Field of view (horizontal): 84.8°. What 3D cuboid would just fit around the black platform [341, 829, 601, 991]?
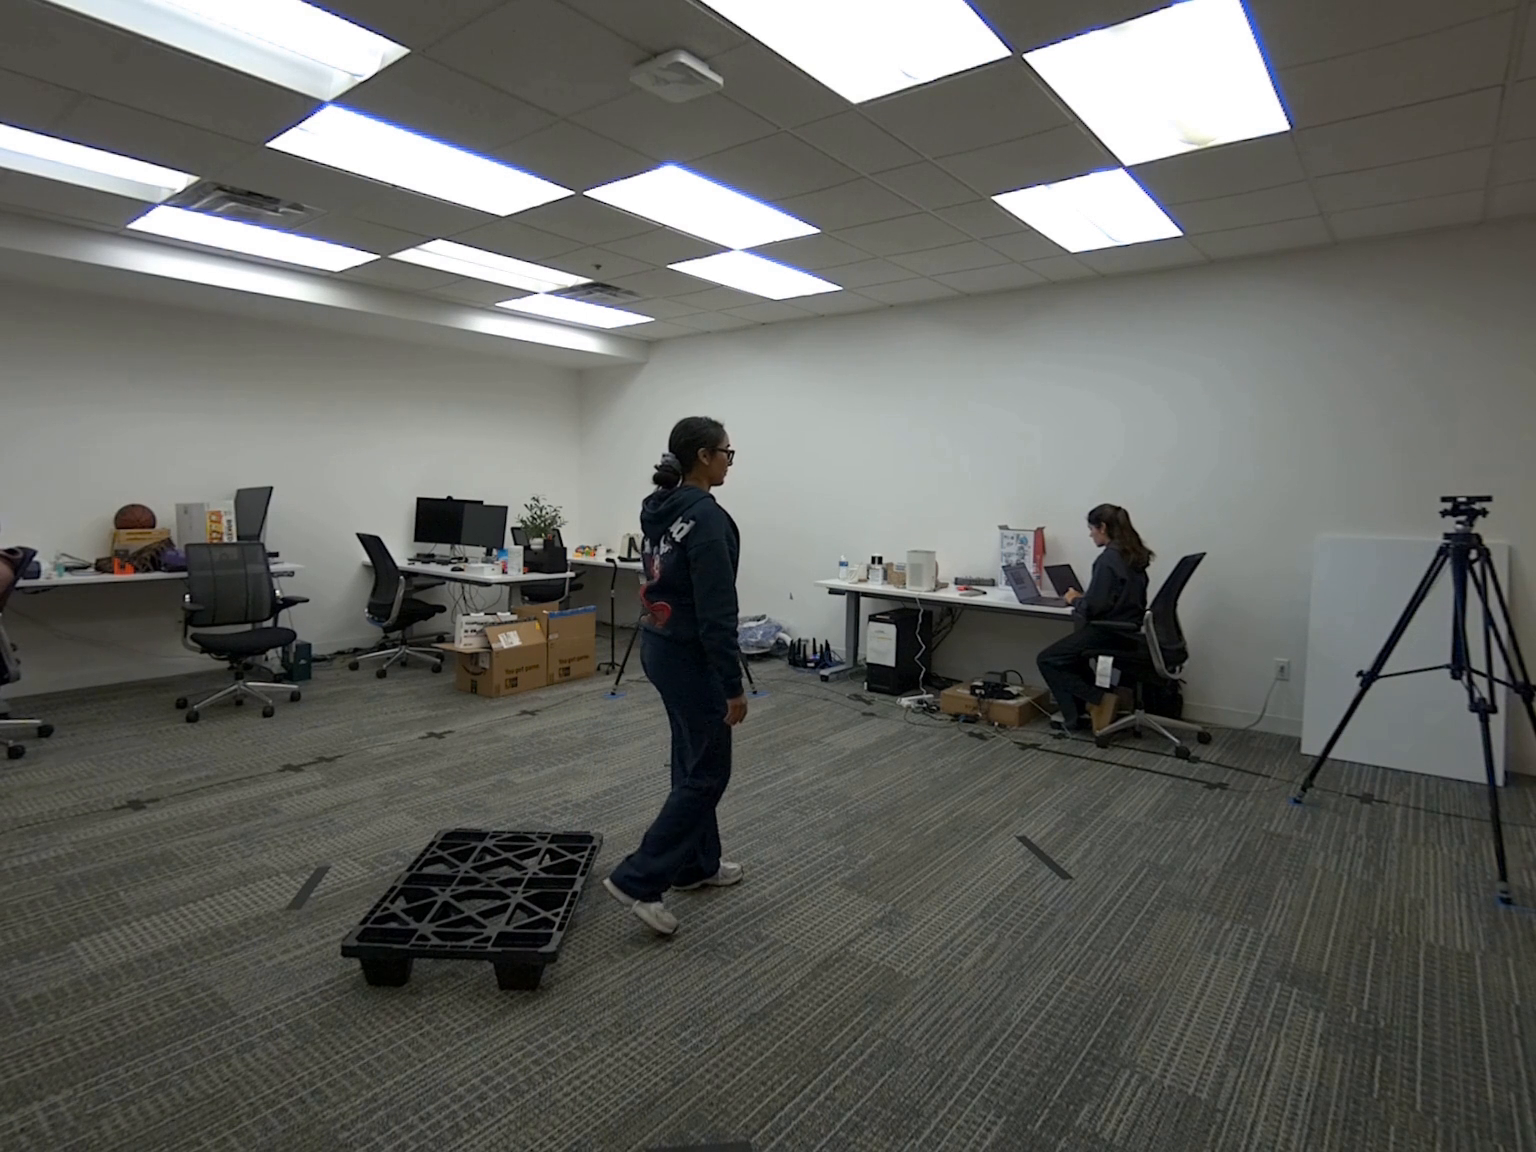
[{"bbox_3d":[-0.896,1.029,2.703,0.606,0.143,0.809,0,6,-1],"label":"black platform"}]
